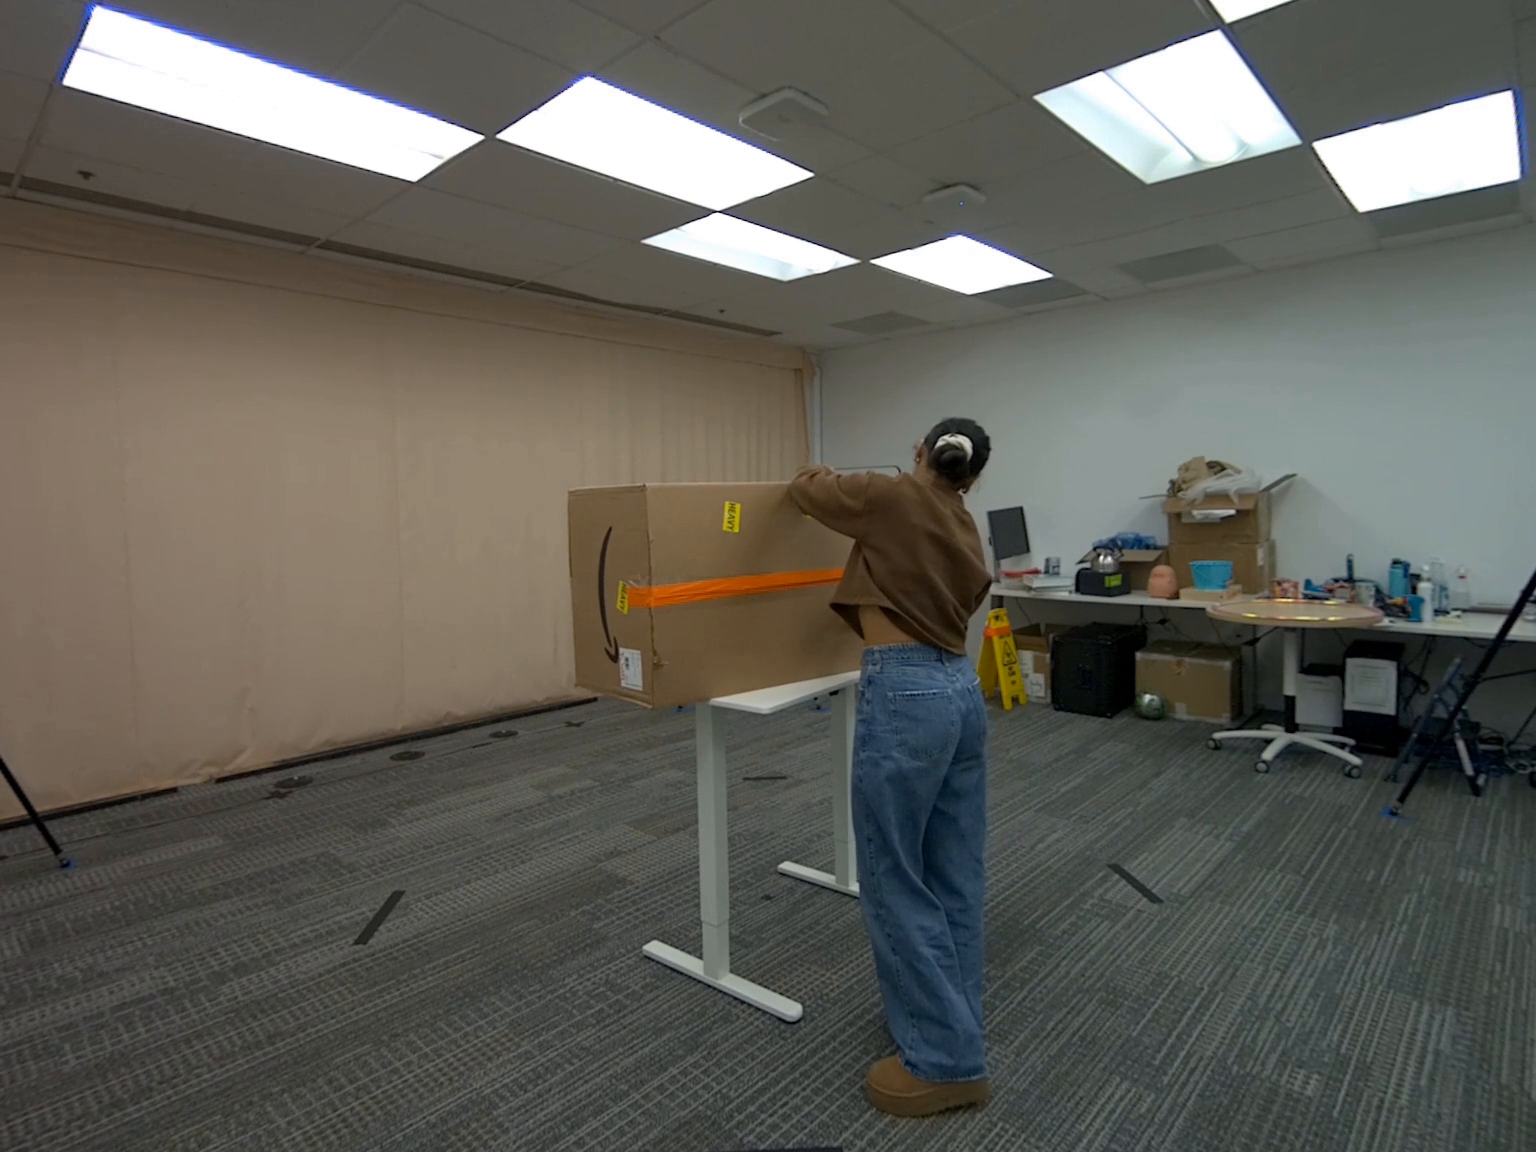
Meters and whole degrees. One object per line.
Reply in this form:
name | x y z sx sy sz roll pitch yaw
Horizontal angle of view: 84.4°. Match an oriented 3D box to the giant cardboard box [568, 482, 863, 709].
giant cardboard box | -0.042 0.015 2.575 0.995 0.576 0.440 -5 4 -38
